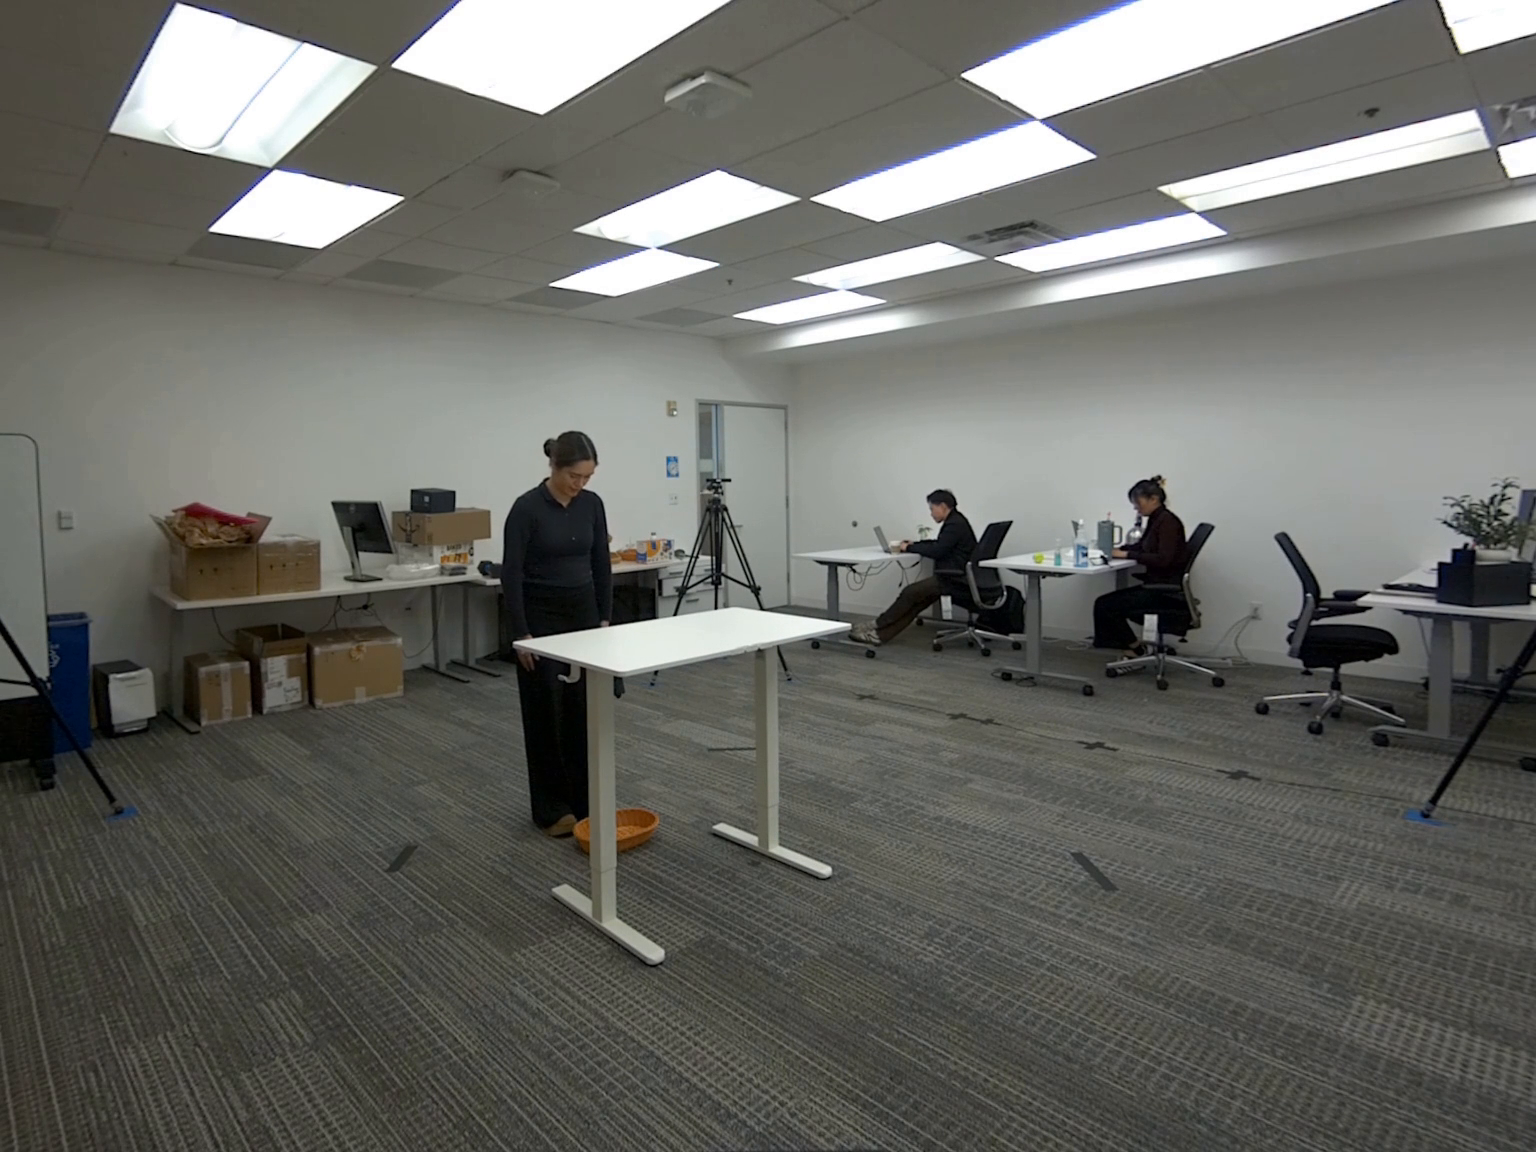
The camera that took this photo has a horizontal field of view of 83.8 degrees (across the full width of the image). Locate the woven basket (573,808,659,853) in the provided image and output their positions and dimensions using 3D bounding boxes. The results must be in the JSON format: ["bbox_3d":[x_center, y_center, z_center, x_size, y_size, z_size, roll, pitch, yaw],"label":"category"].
[{"bbox_3d":[-0.583,0.985,3.304,0.342,0.073,0.260,-7,9,-37],"label":"woven basket"}]
